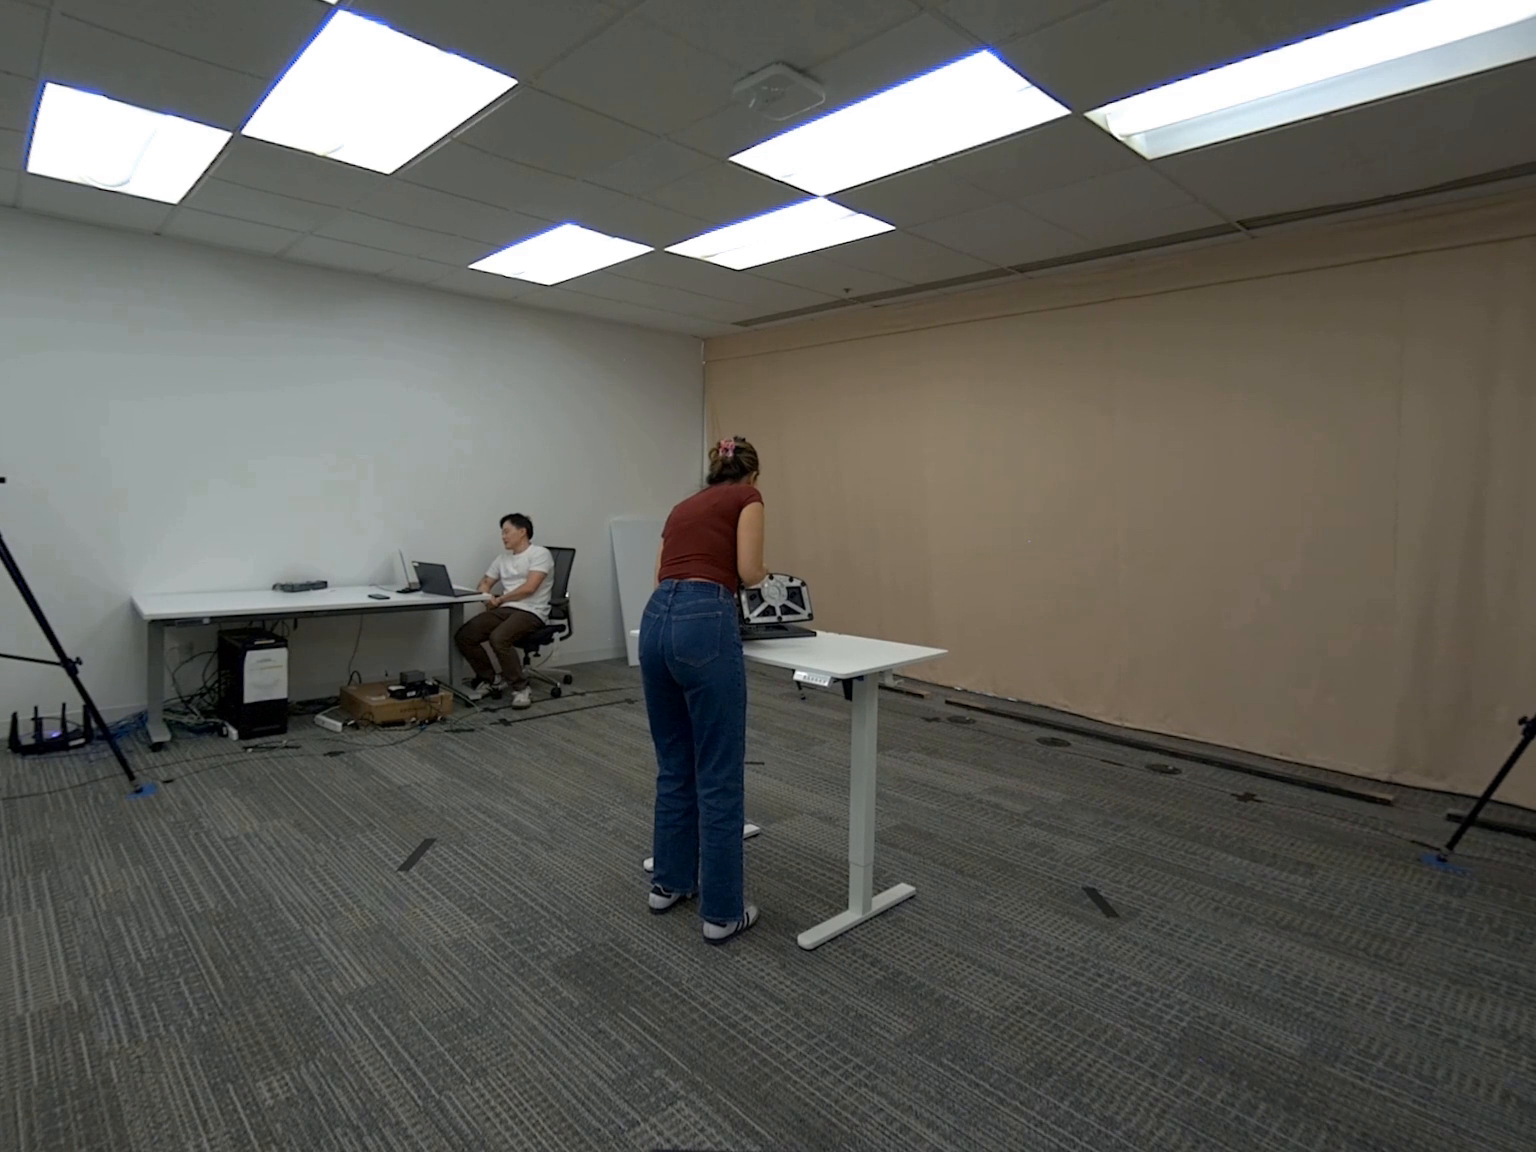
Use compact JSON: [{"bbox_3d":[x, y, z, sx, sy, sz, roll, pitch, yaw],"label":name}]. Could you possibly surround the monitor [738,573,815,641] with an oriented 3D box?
[{"bbox_3d":[-0.099,0.143,3.104,0.528,0.189,0.527,1,-13,-28],"label":"monitor"}]
